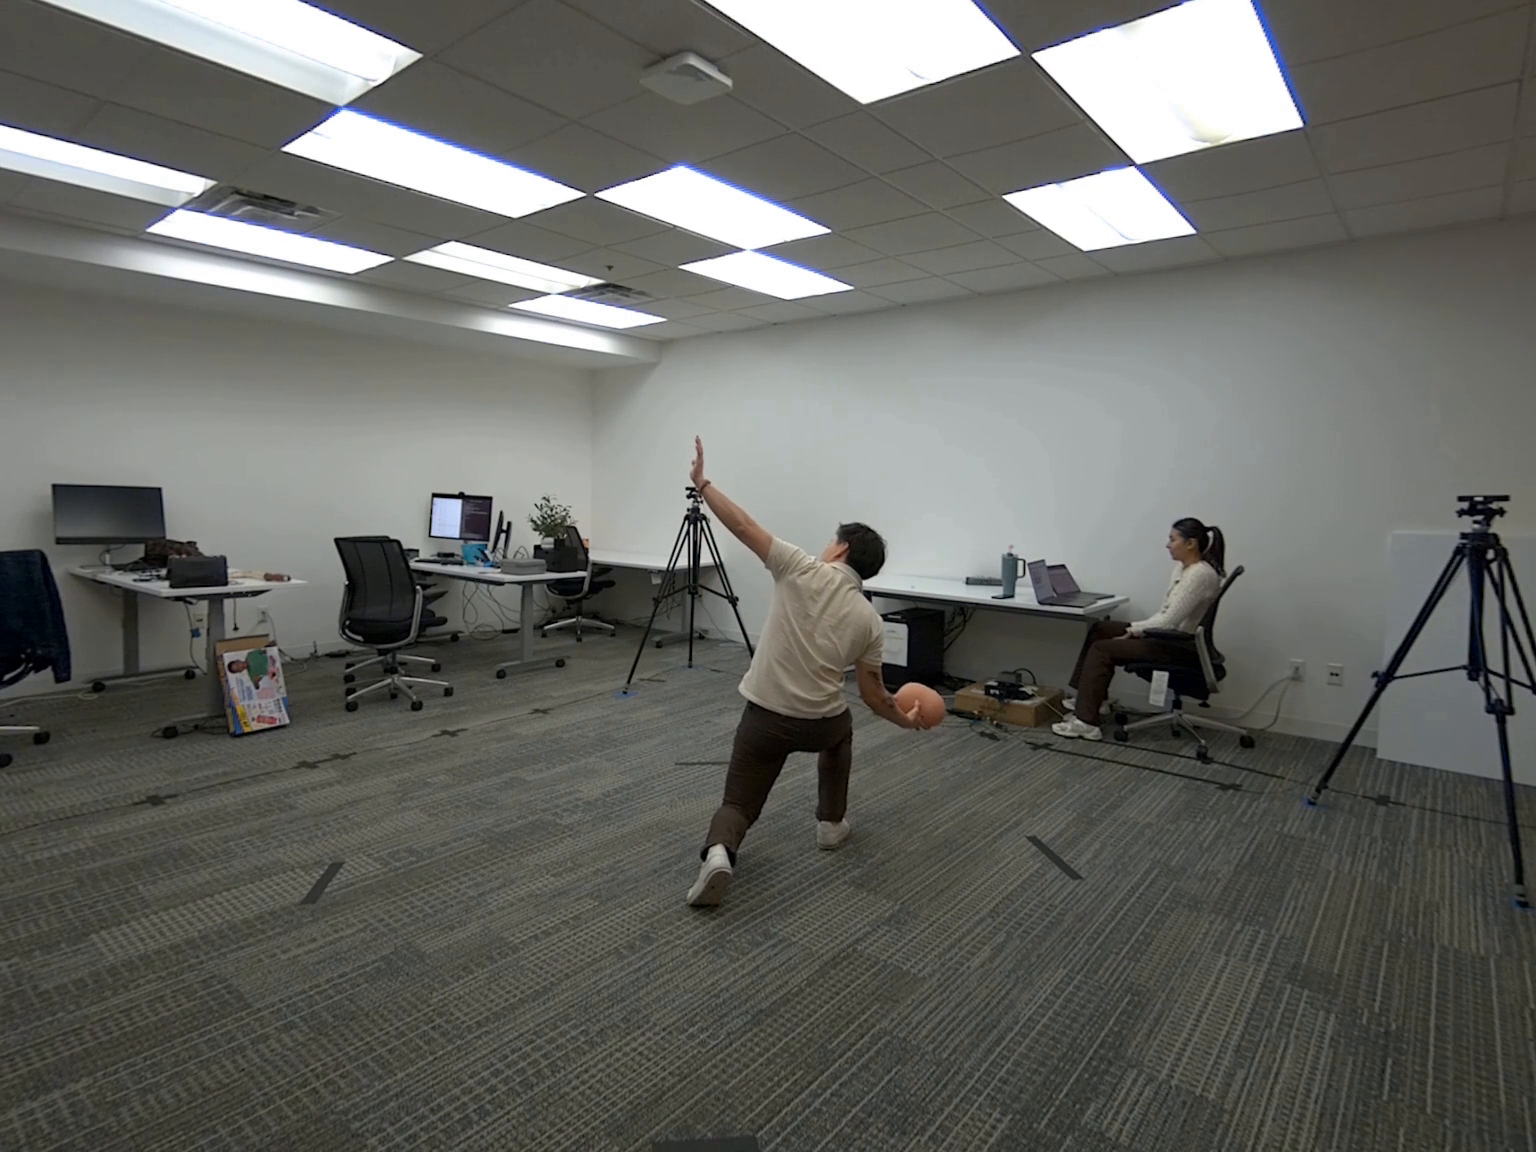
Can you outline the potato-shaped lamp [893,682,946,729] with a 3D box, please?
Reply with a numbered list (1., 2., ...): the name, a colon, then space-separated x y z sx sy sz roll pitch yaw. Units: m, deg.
1. potato-shaped lamp: 0.618 0.528 3.484 0.205 0.160 0.170 24 47 32
